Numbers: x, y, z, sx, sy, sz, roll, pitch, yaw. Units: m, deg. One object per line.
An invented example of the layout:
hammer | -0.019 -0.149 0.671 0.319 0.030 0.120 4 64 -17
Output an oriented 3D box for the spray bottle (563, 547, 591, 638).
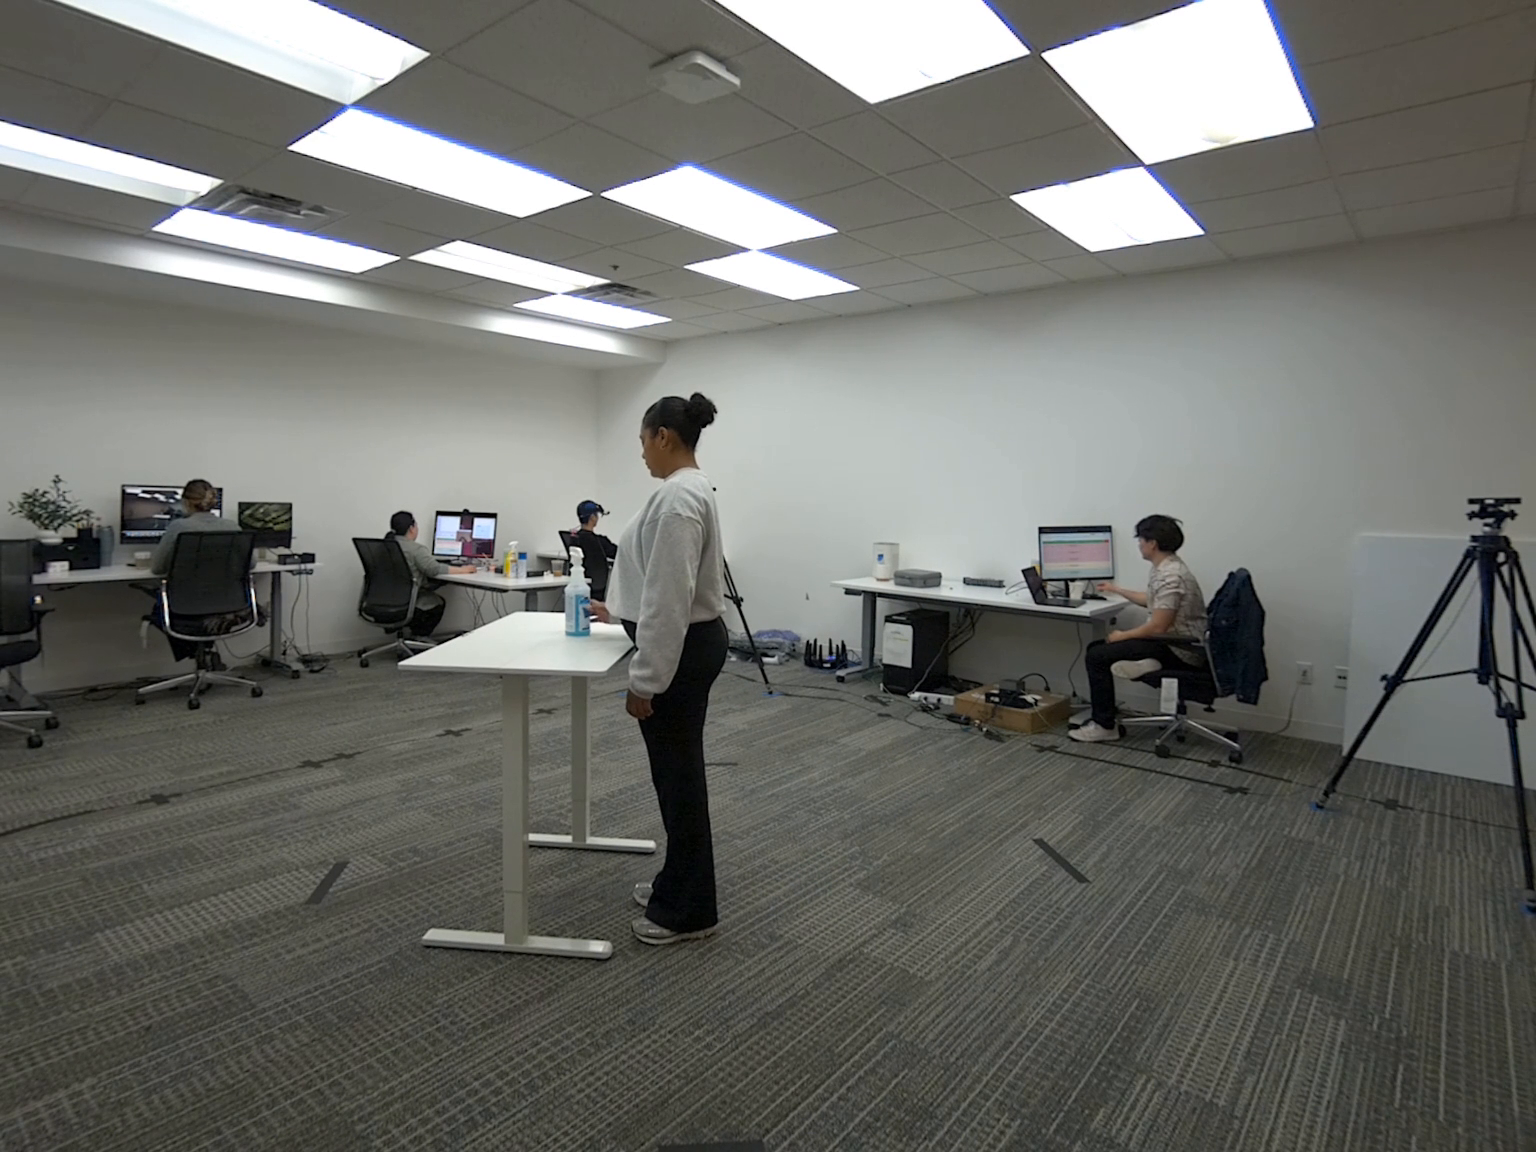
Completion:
spray bottle | -0.658 0.052 2.893 0.086 0.297 0.091 3 3 -7
